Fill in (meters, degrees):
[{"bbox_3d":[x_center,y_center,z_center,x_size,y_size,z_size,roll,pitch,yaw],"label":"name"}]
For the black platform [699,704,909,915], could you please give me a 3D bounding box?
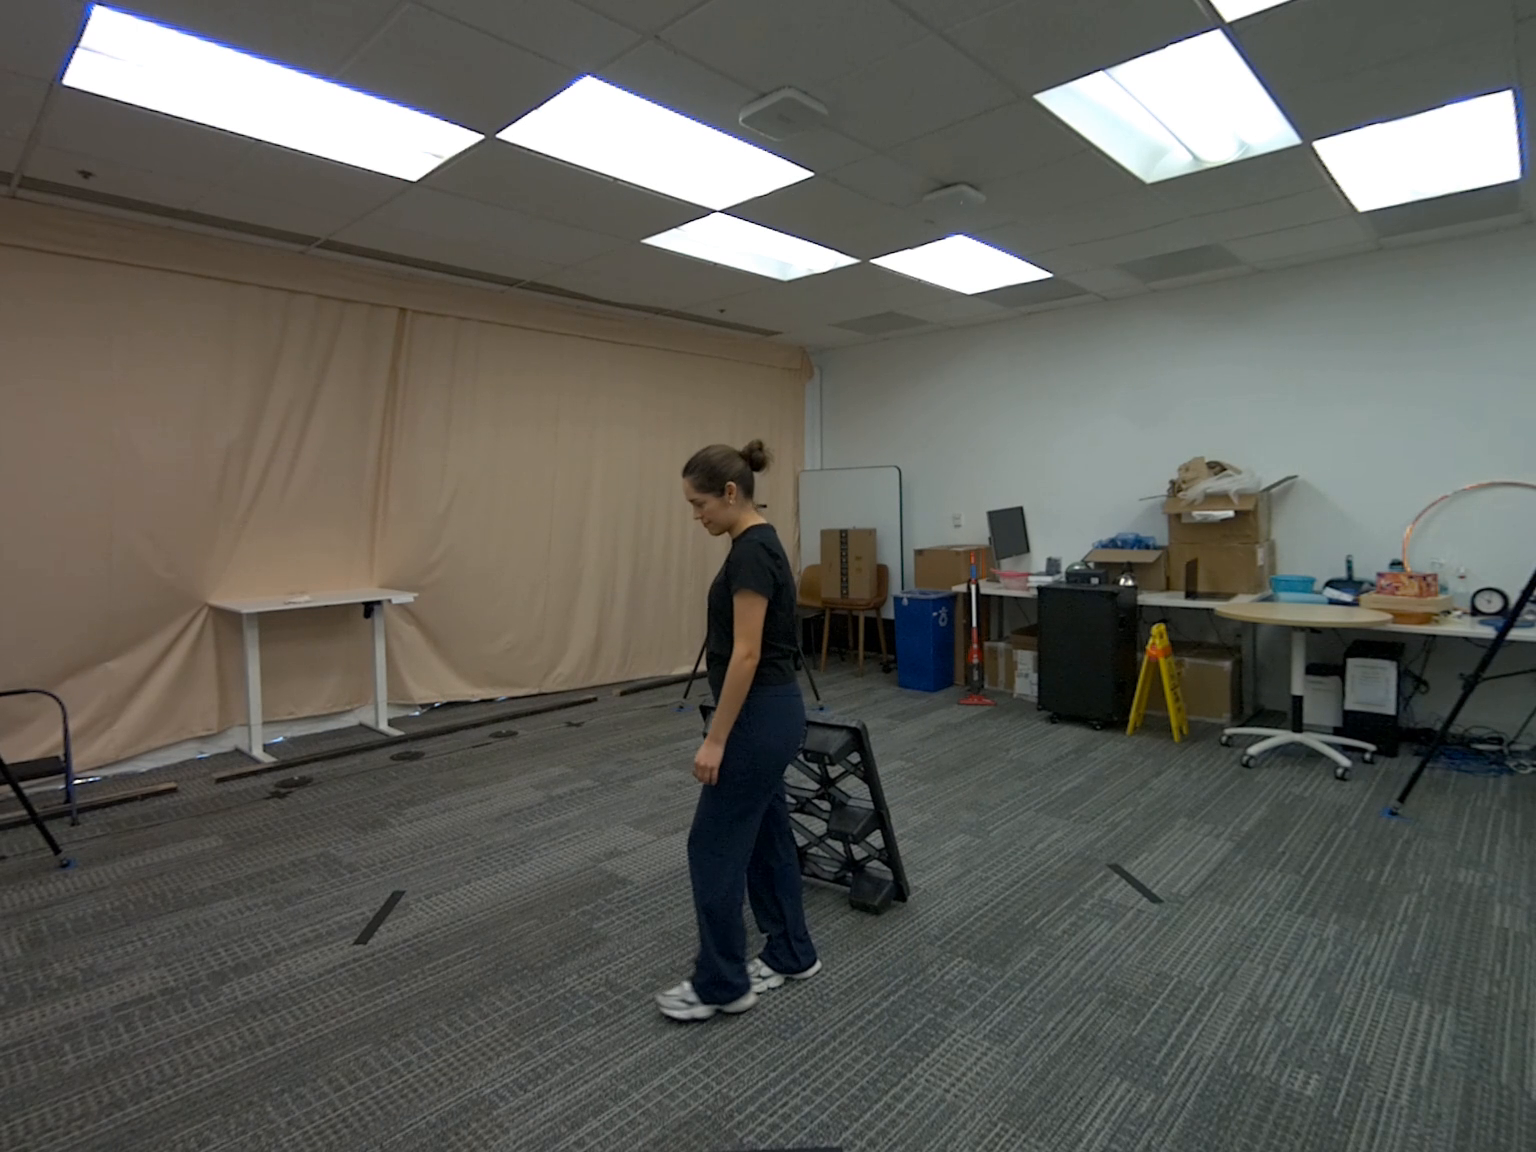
[{"bbox_3d":[0.122,0.791,2.851,0.623,0.788,0.142,2,32,32],"label":"black platform"}]
